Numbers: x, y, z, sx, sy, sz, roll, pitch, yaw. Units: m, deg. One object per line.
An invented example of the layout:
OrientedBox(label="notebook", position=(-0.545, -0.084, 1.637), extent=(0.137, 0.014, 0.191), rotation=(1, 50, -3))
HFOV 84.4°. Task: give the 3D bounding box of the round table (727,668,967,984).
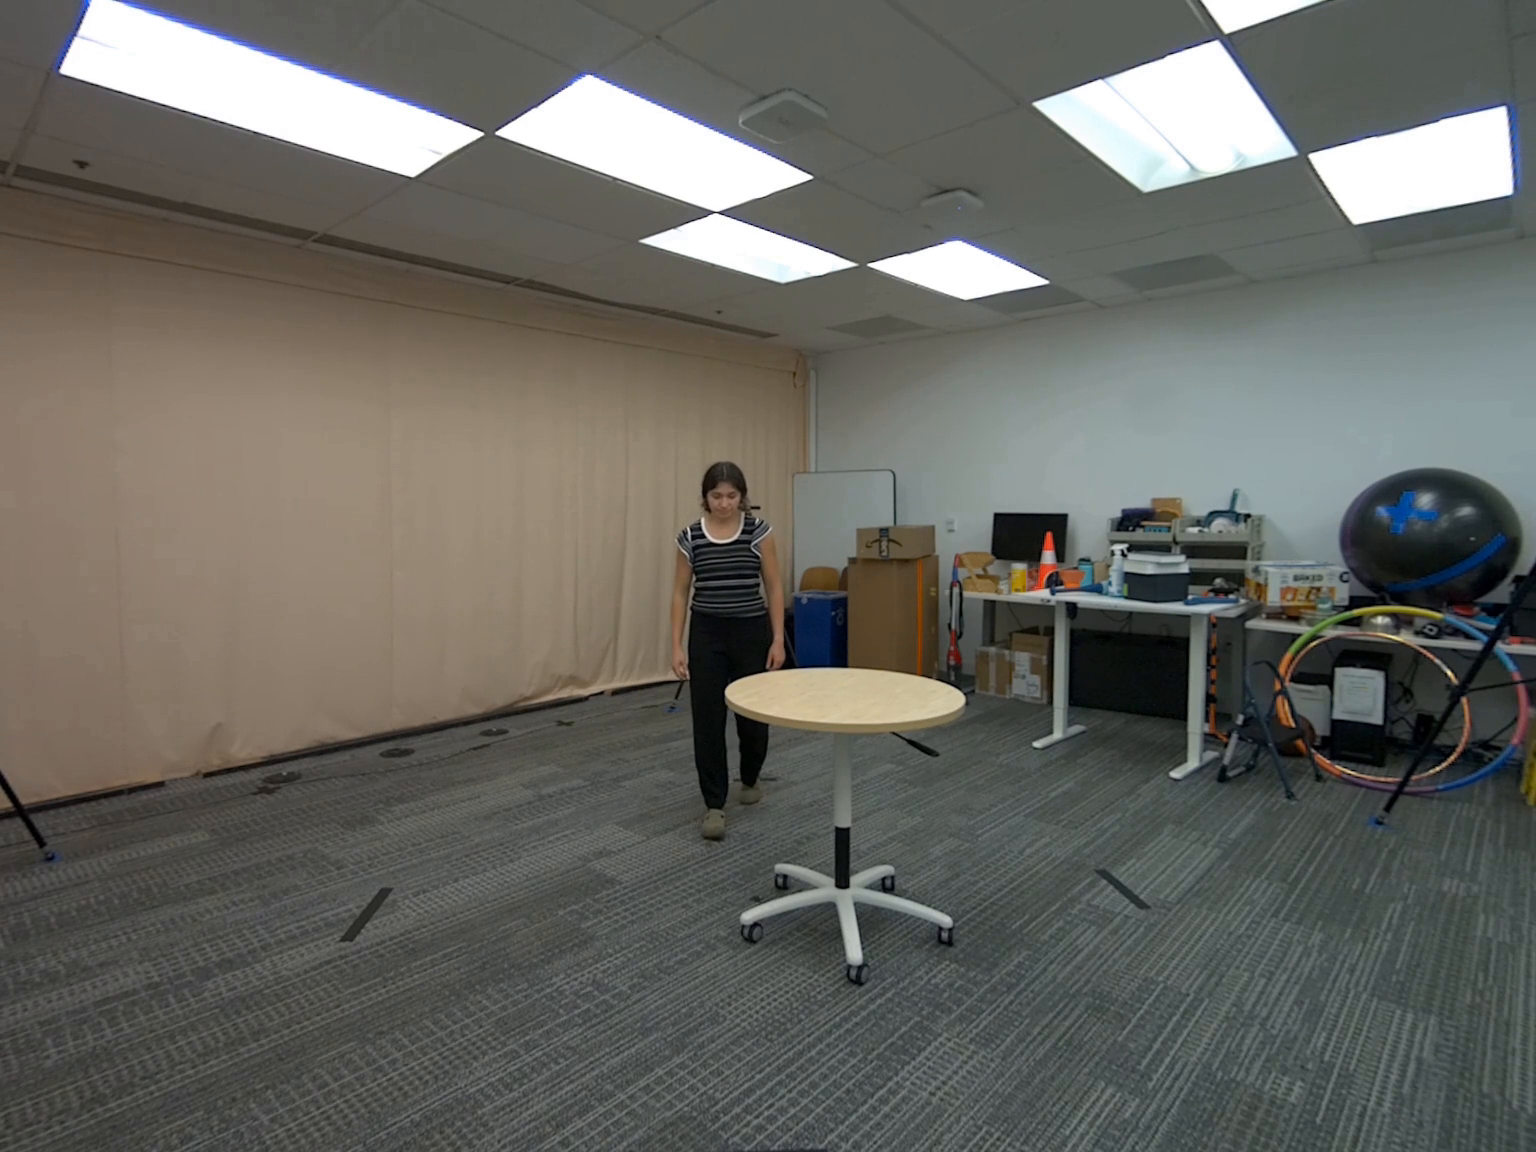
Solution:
OrientedBox(label="round table", position=(0.239, 0.767, 2.762), extent=(0.784, 0.785, 0.788), rotation=(0, 4, -2))
